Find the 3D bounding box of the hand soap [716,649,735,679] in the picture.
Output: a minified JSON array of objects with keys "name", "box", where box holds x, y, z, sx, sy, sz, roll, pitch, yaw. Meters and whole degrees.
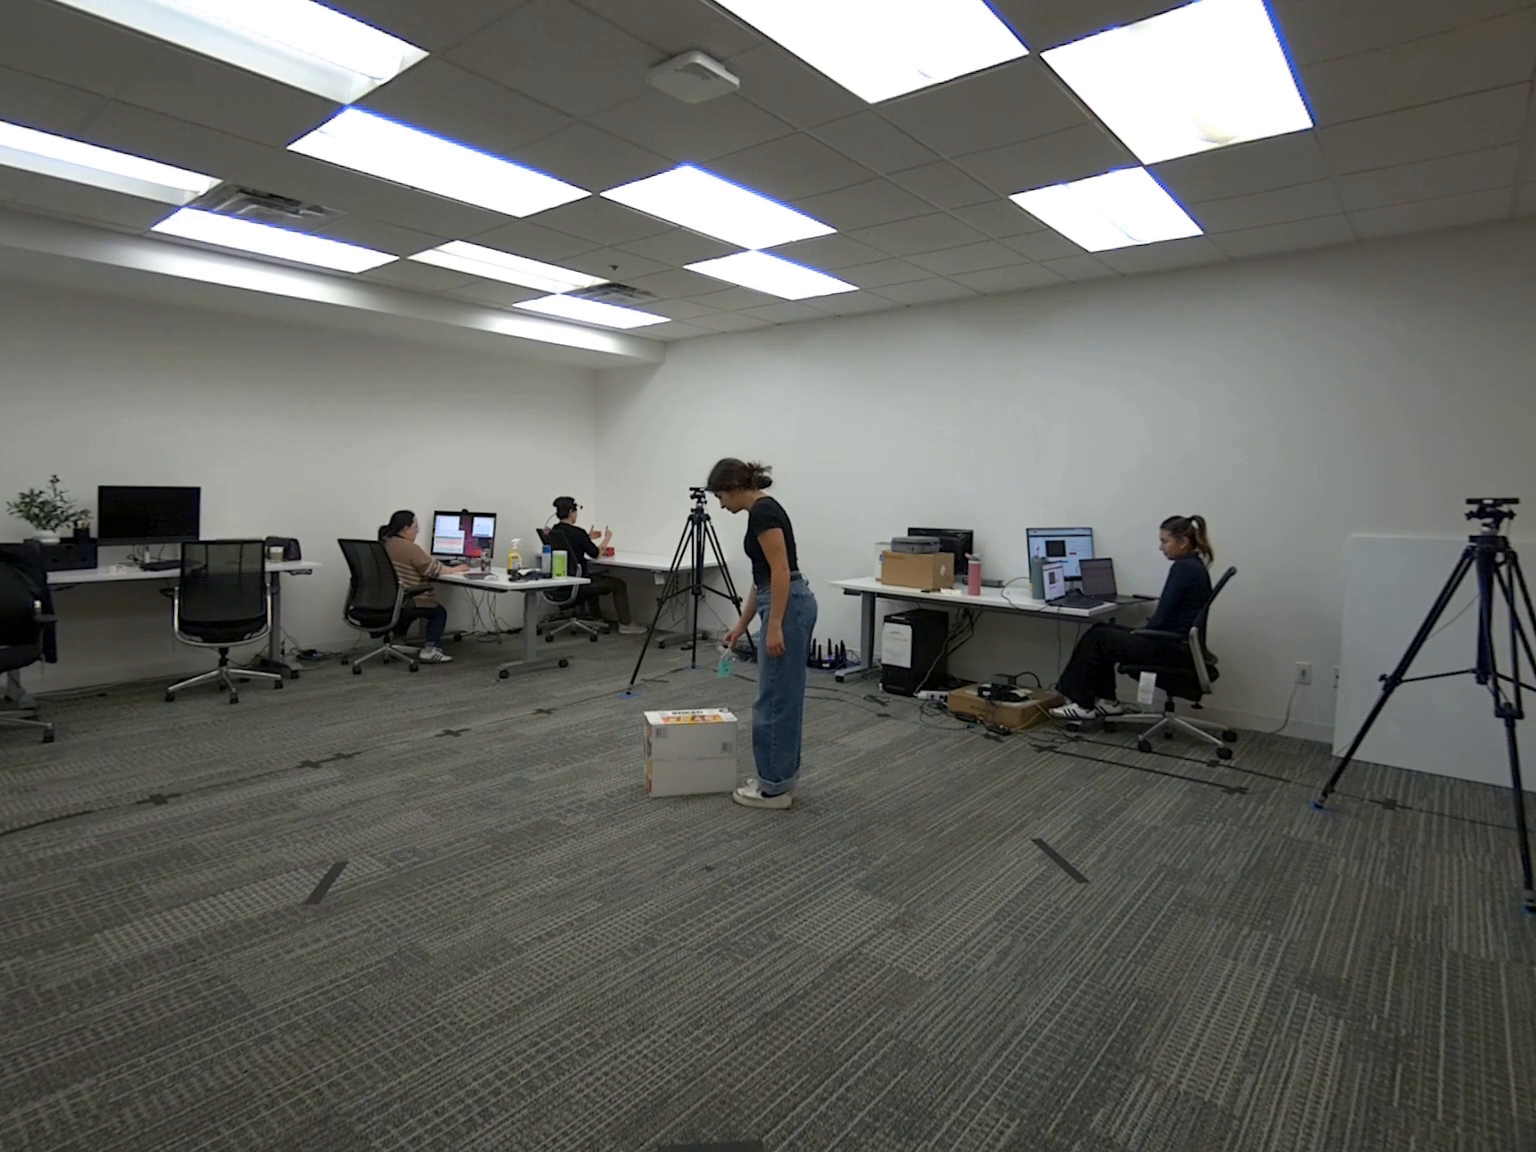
[{"name":"hand soap","box":[-0.211,0.387,3.984,0.081,0.168,0.045,17,0,-40]}]
